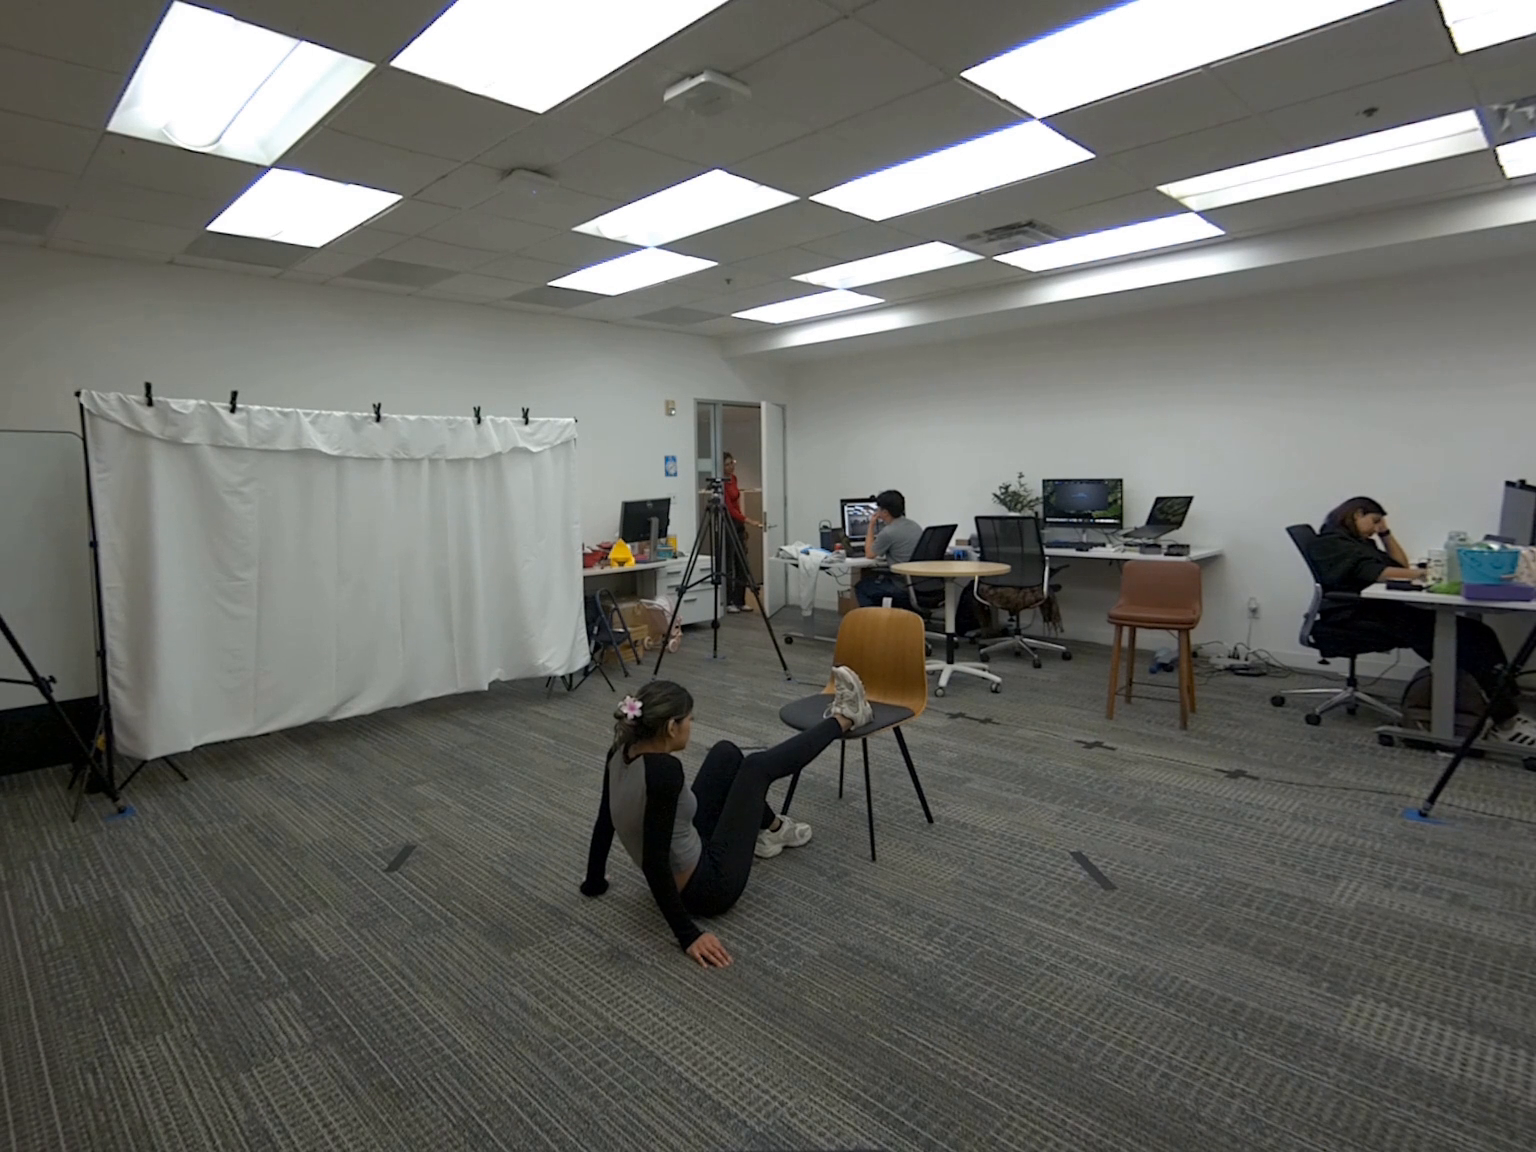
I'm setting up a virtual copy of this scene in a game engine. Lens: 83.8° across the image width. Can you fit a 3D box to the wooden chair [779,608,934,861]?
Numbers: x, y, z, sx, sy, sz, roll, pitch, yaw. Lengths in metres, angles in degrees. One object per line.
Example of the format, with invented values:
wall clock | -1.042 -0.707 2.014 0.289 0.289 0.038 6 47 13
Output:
wooden chair | 0.340 0.576 3.376 0.492 0.877 0.508 3 1 40
